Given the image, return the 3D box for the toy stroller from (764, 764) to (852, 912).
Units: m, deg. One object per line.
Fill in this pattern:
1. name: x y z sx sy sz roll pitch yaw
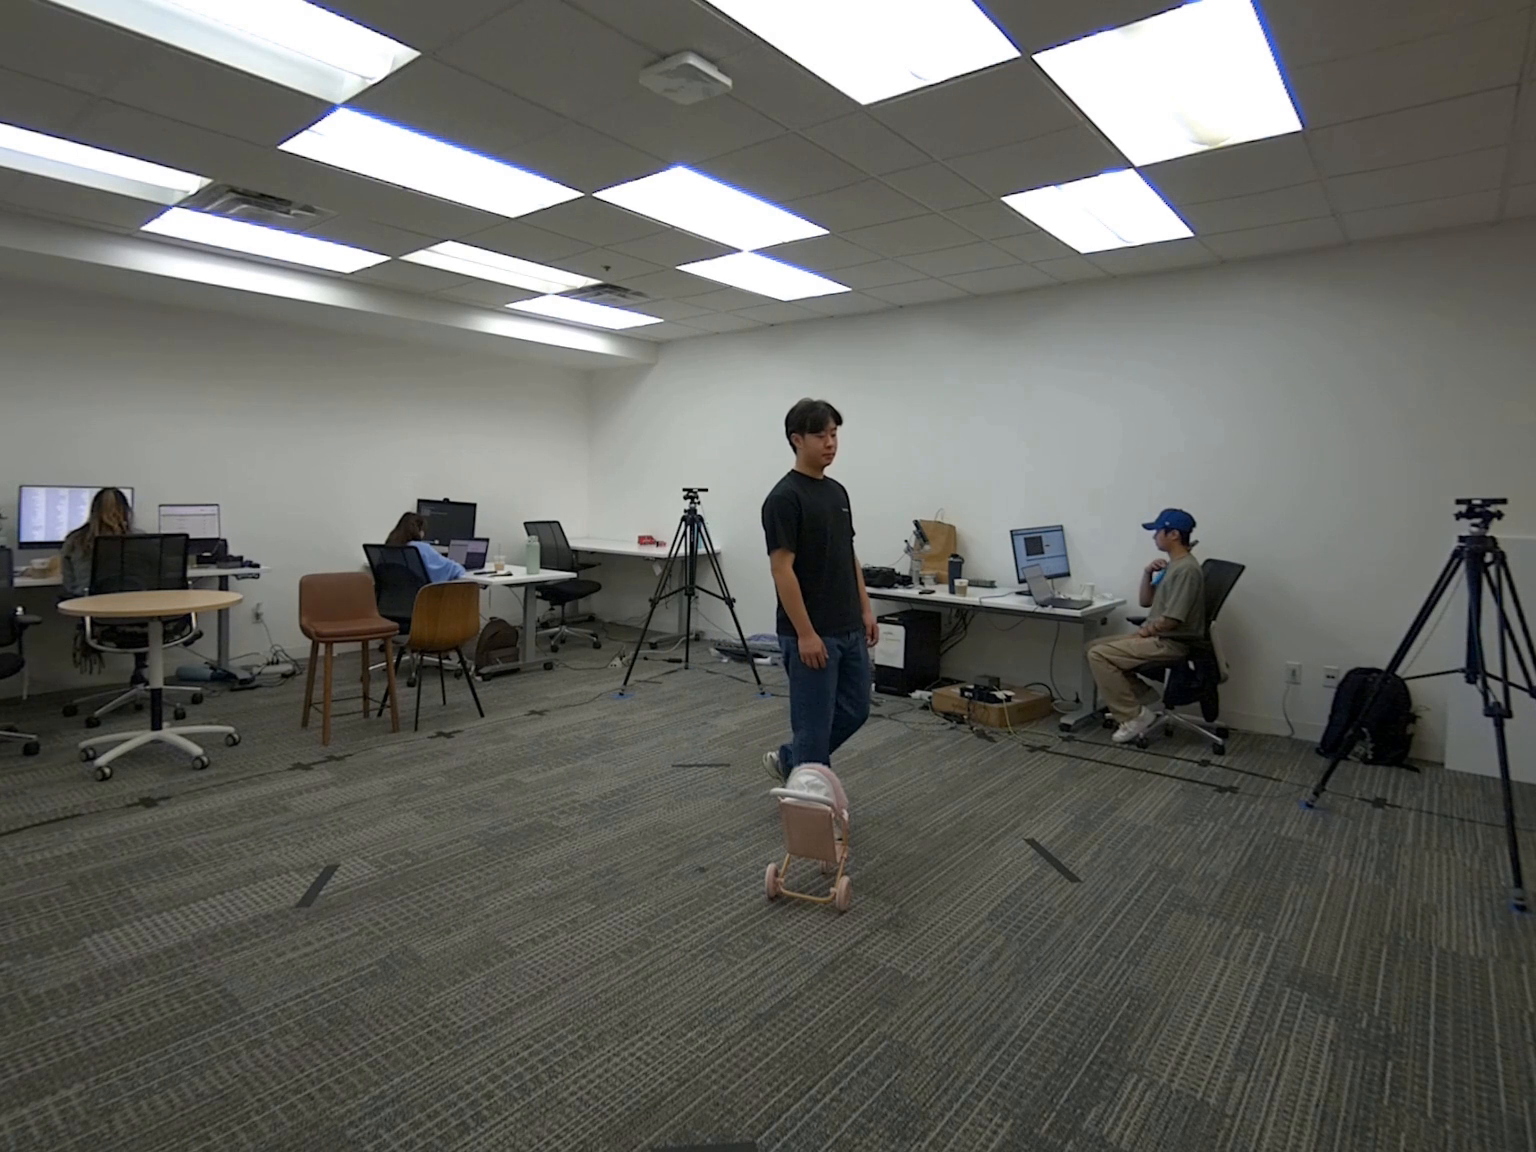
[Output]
1. toy stroller: 0.150 0.866 2.927 0.288 0.525 0.339 4 21 22
